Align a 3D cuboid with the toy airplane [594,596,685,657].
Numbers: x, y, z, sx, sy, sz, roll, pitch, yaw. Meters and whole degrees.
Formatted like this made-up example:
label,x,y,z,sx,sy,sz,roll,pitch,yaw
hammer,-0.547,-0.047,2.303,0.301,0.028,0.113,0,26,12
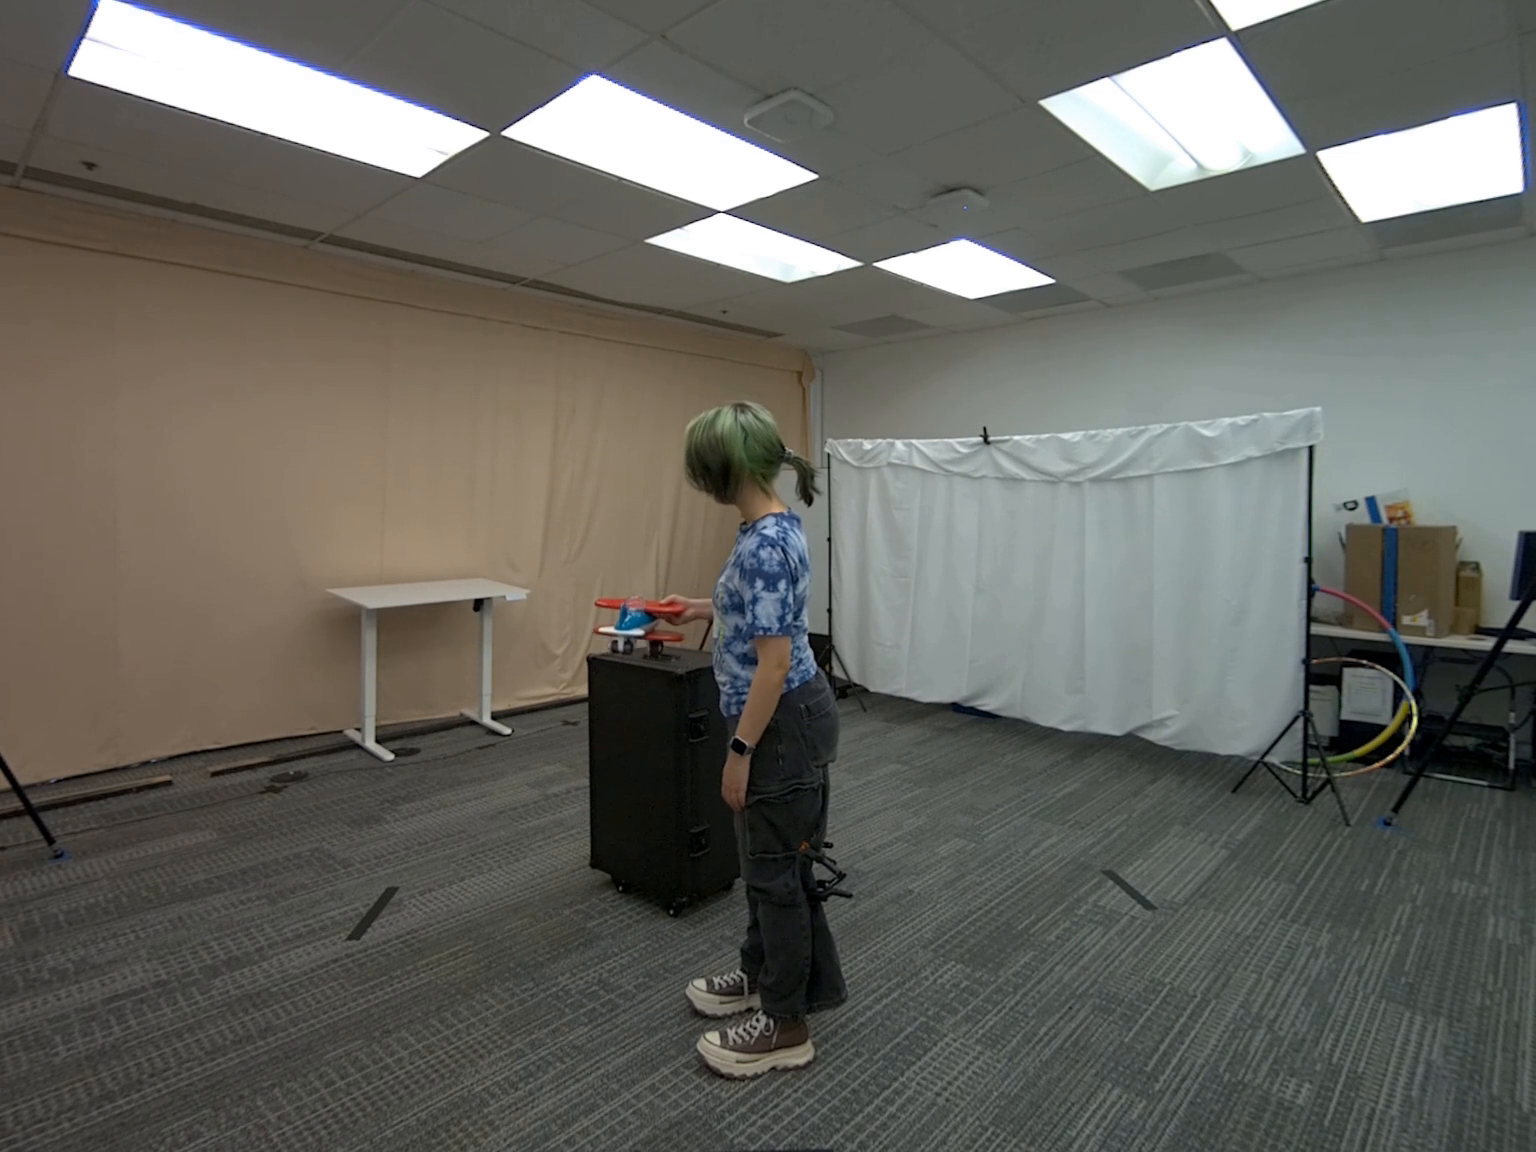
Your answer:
label,x,y,z,sx,sy,sz,roll,pitch,yaw
toy airplane,-0.340,0.146,2.265,0.246,0.157,0.263,8,-10,-19
